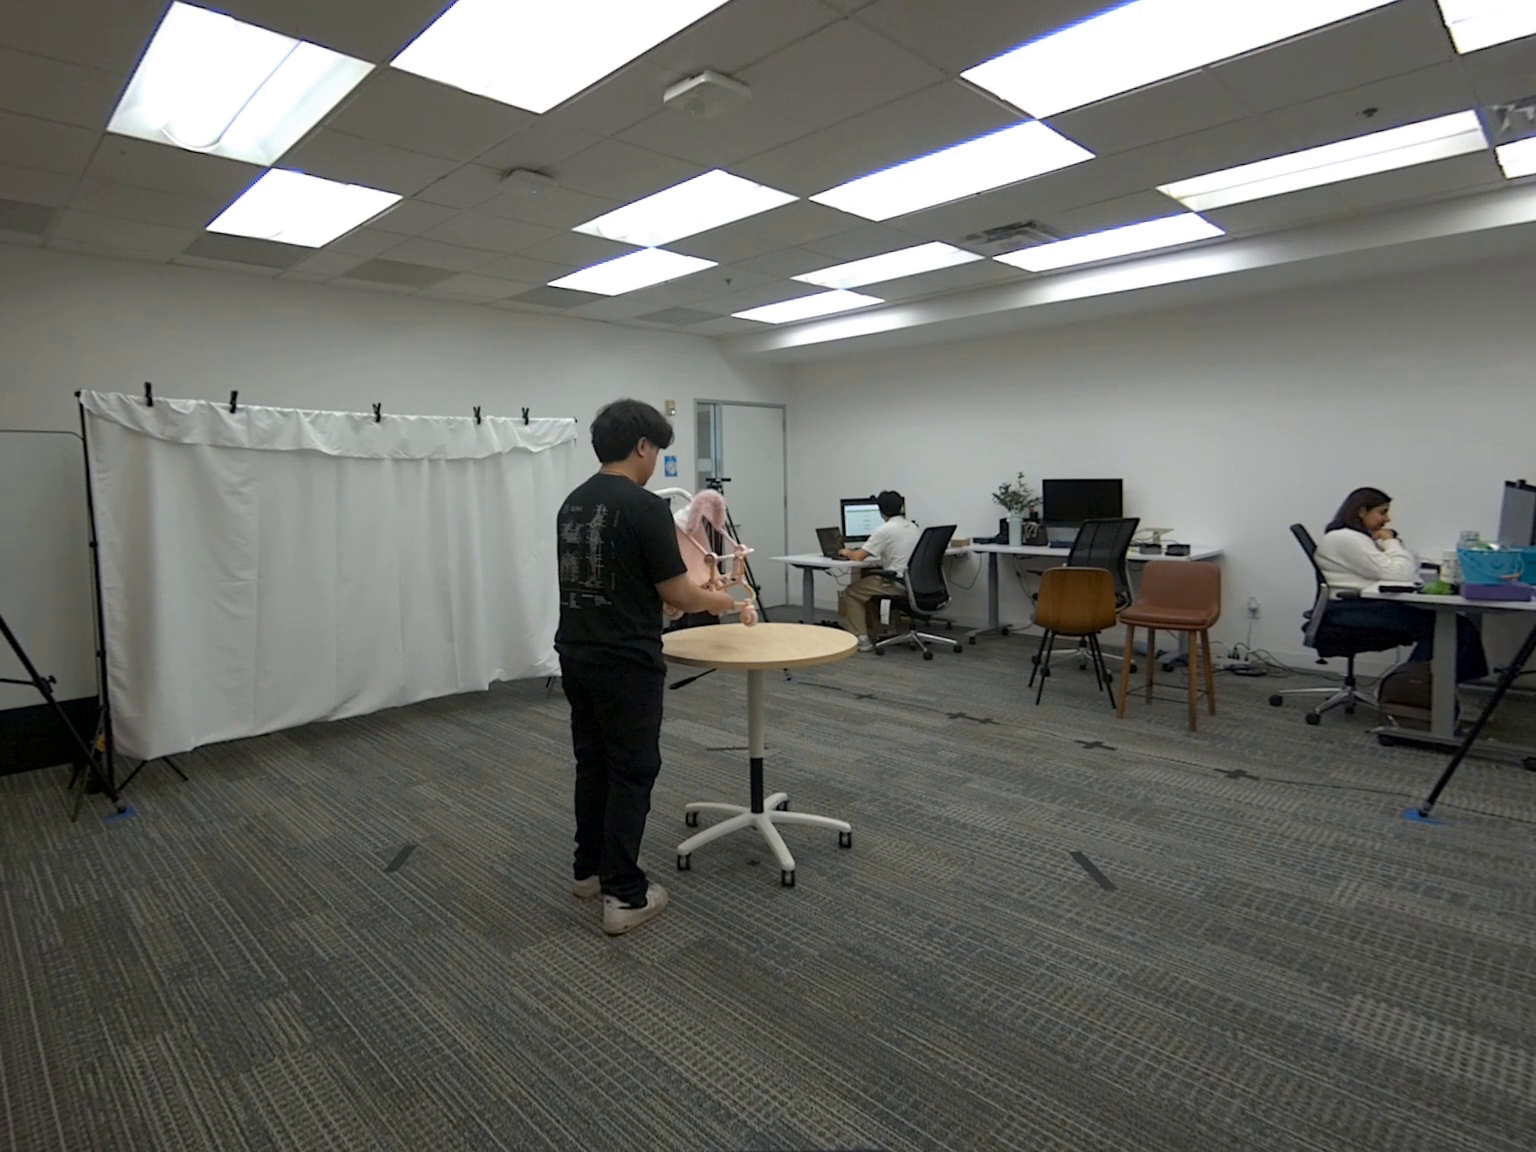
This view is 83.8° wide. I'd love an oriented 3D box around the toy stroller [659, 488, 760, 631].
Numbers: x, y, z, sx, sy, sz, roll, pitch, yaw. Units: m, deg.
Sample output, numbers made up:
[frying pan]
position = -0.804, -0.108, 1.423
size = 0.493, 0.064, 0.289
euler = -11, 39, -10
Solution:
[toy stroller]
position = -0.213, -0.069, 3.101
size = 0.350, 0.533, 0.275
euler = -6, 4, 39
